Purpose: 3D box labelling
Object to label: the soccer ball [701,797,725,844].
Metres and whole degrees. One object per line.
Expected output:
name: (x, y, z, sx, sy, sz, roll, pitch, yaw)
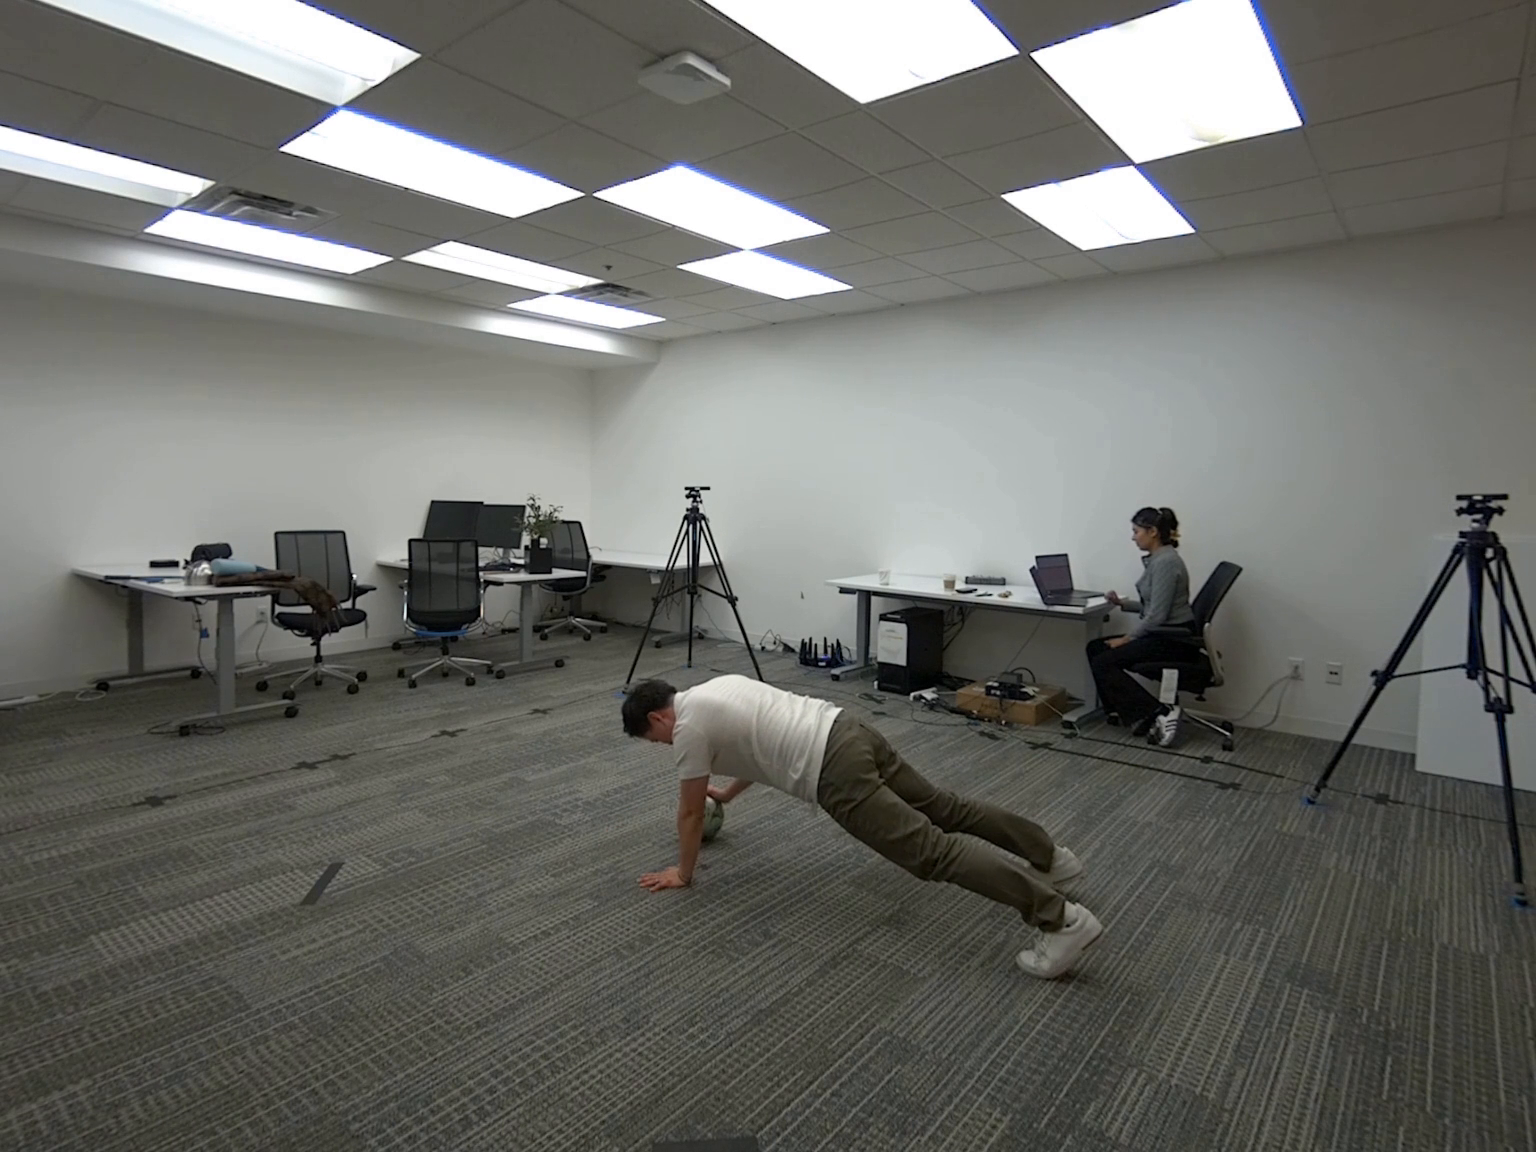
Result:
soccer ball: (-0.266, 0.942, 3.370, 0.187, 0.187, 0.188, 1, 4, -2)
